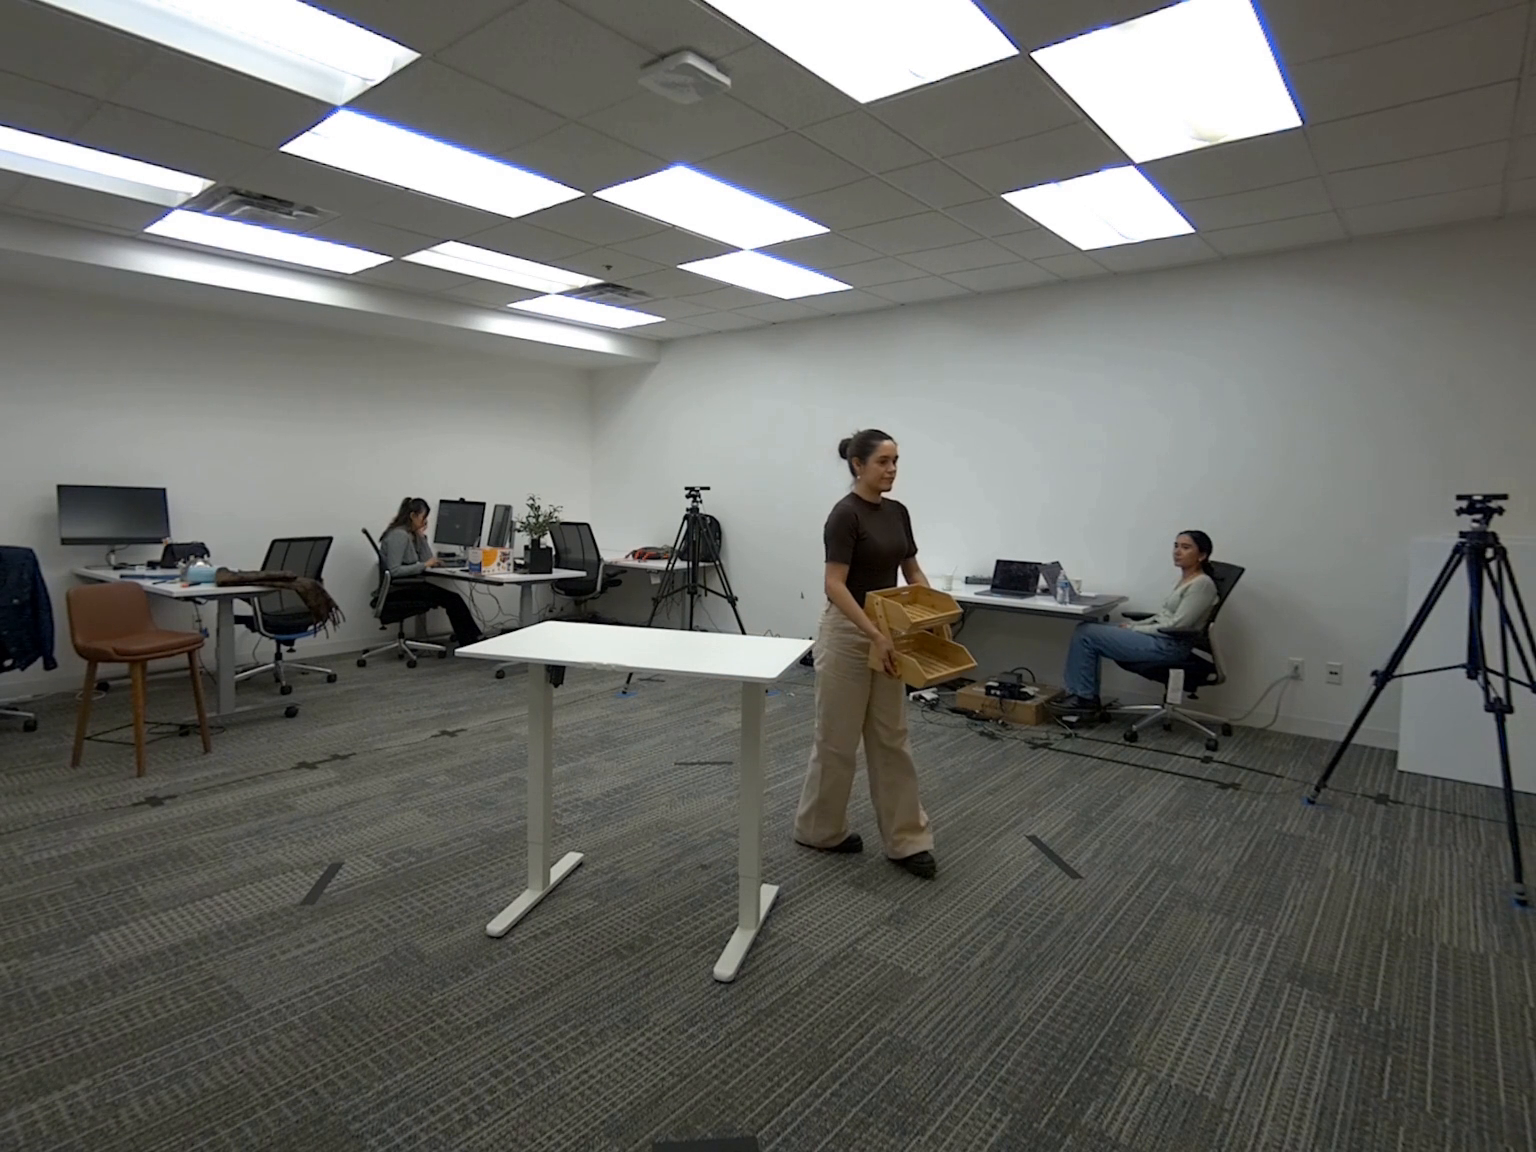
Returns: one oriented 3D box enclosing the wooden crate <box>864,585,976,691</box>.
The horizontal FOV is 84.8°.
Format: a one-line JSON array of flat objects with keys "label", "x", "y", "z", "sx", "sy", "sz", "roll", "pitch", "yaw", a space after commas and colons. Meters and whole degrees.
[{"label": "wooden crate", "x": 0.544, "y": 0.197, "z": 3.018, "sx": 0.315, "sy": 0.270, "sz": 0.314, "roll": -7, "pitch": 17, "yaw": -41}]
